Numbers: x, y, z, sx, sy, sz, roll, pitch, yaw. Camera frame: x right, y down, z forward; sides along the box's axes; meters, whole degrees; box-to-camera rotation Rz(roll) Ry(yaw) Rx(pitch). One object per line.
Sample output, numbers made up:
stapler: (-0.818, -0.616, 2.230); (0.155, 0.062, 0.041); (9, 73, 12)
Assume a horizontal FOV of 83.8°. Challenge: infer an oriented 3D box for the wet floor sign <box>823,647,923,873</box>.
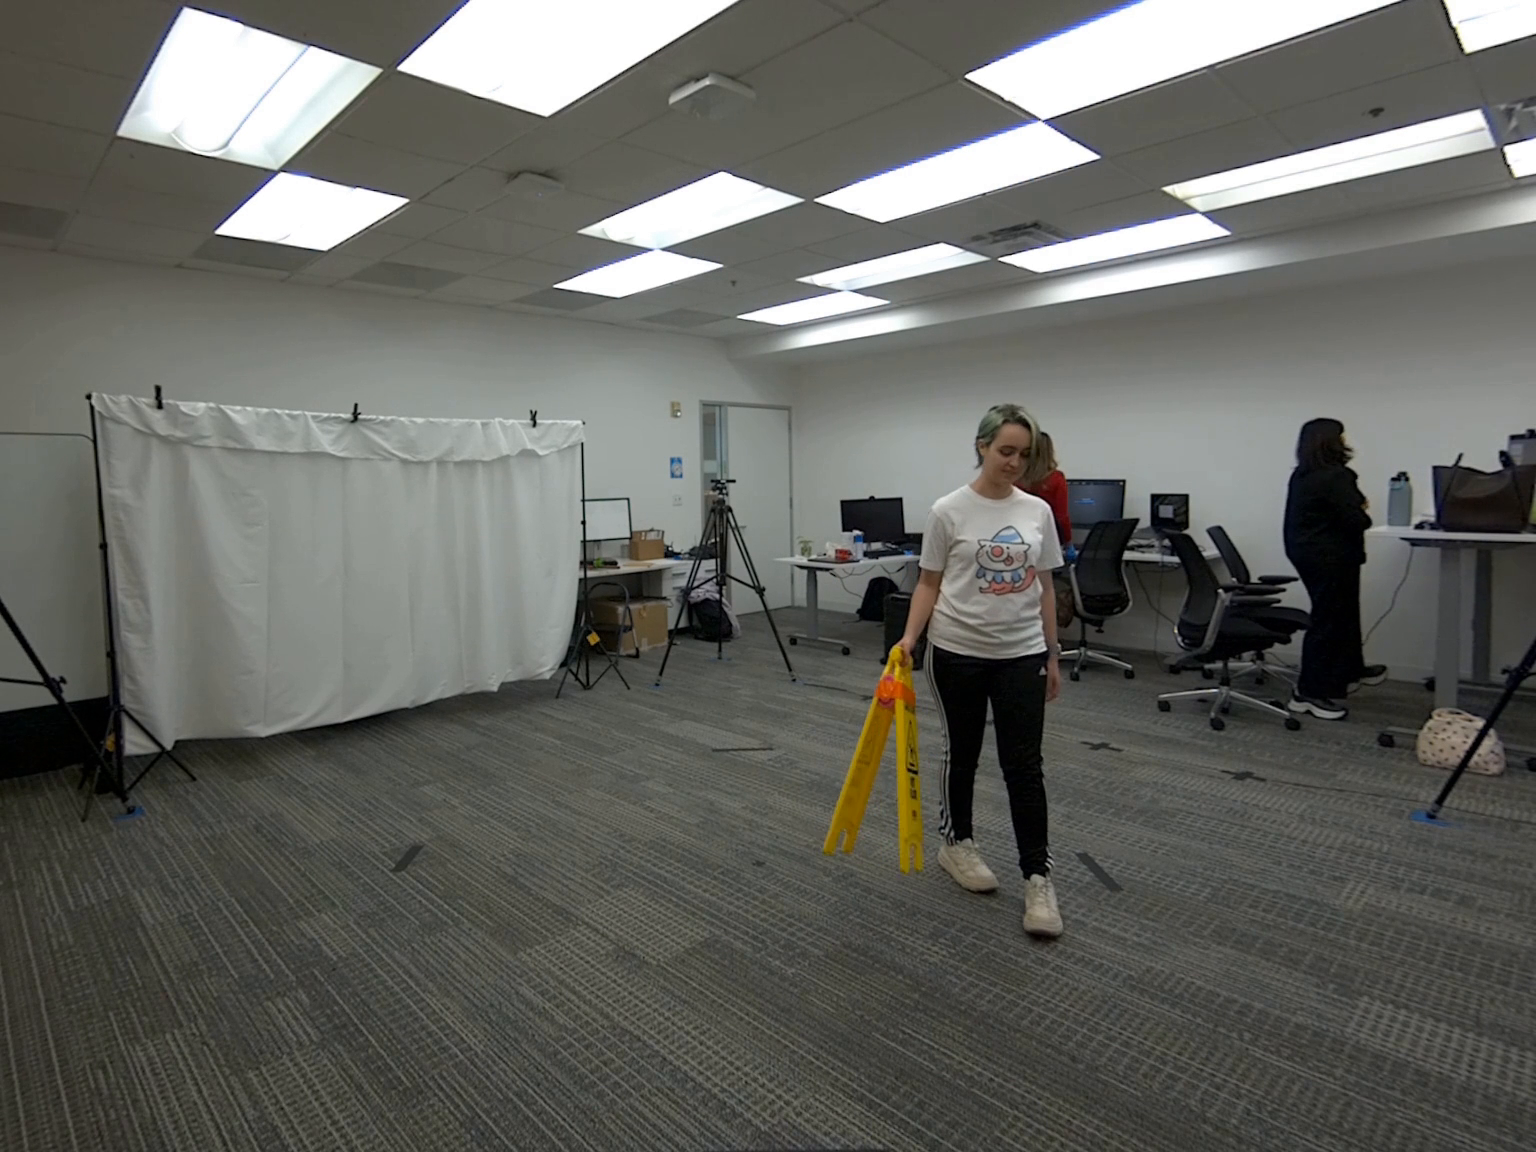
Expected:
wet floor sign: (0.386, 0.554, 2.660); (0.296, 0.652, 0.273); (4, -15, 24)
